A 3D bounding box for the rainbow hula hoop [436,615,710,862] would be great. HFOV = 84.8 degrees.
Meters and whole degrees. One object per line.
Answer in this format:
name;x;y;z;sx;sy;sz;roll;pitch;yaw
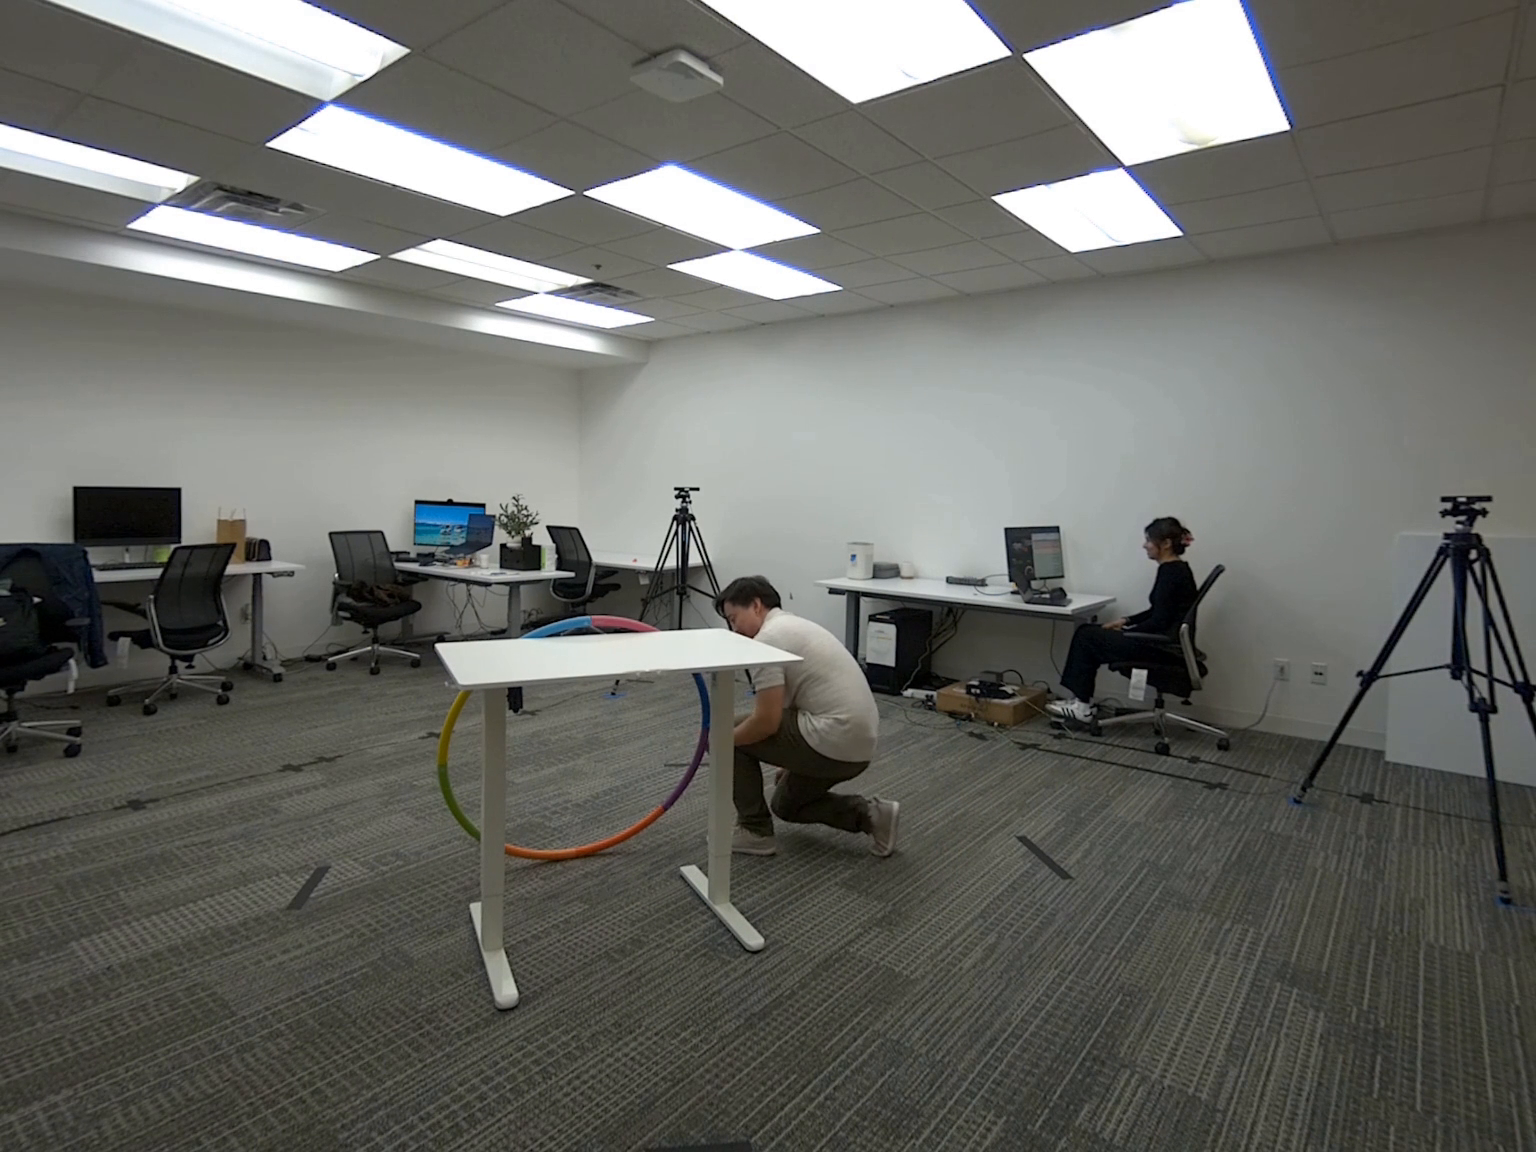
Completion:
rainbow hula hoop;-0.688;0.600;3.047;0.956;0.965;0.037;-1;20;-25
